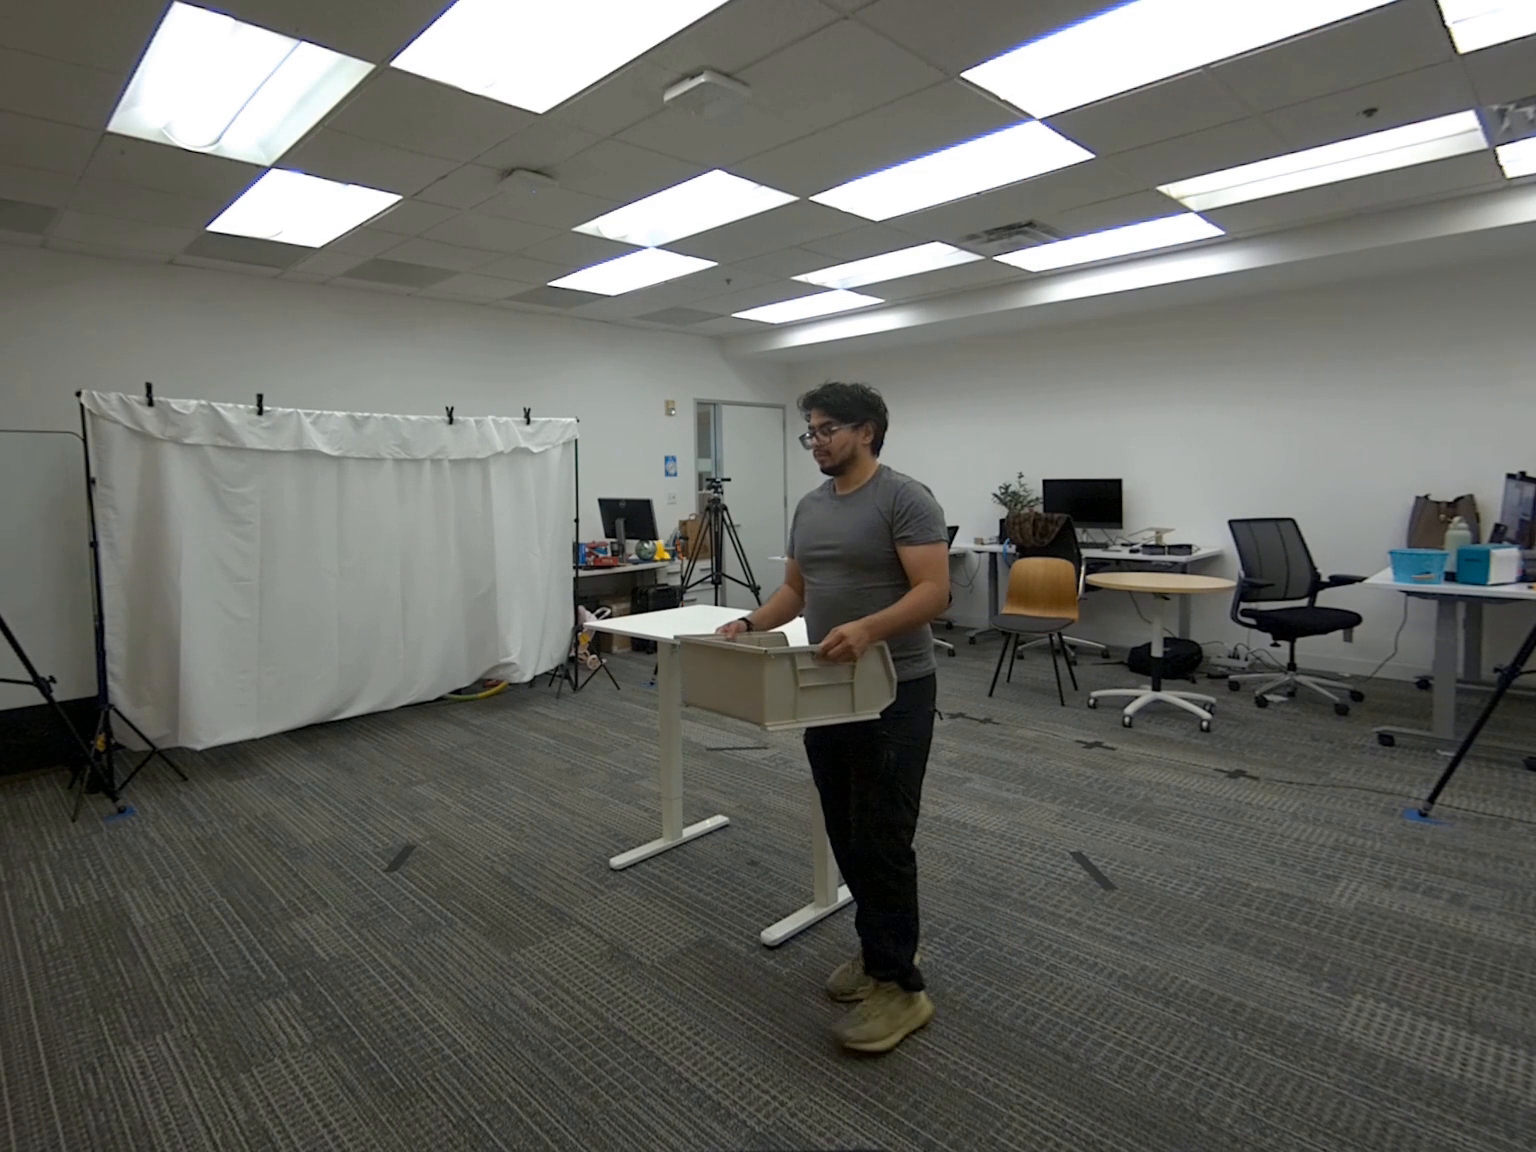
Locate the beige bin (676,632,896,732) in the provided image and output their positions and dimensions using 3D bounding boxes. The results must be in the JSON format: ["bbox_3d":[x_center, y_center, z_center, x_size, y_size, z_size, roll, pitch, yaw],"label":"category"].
[{"bbox_3d":[0.035,0.244,2.084,0.368,0.189,0.433,-2,2,-32],"label":"beige bin"}]
